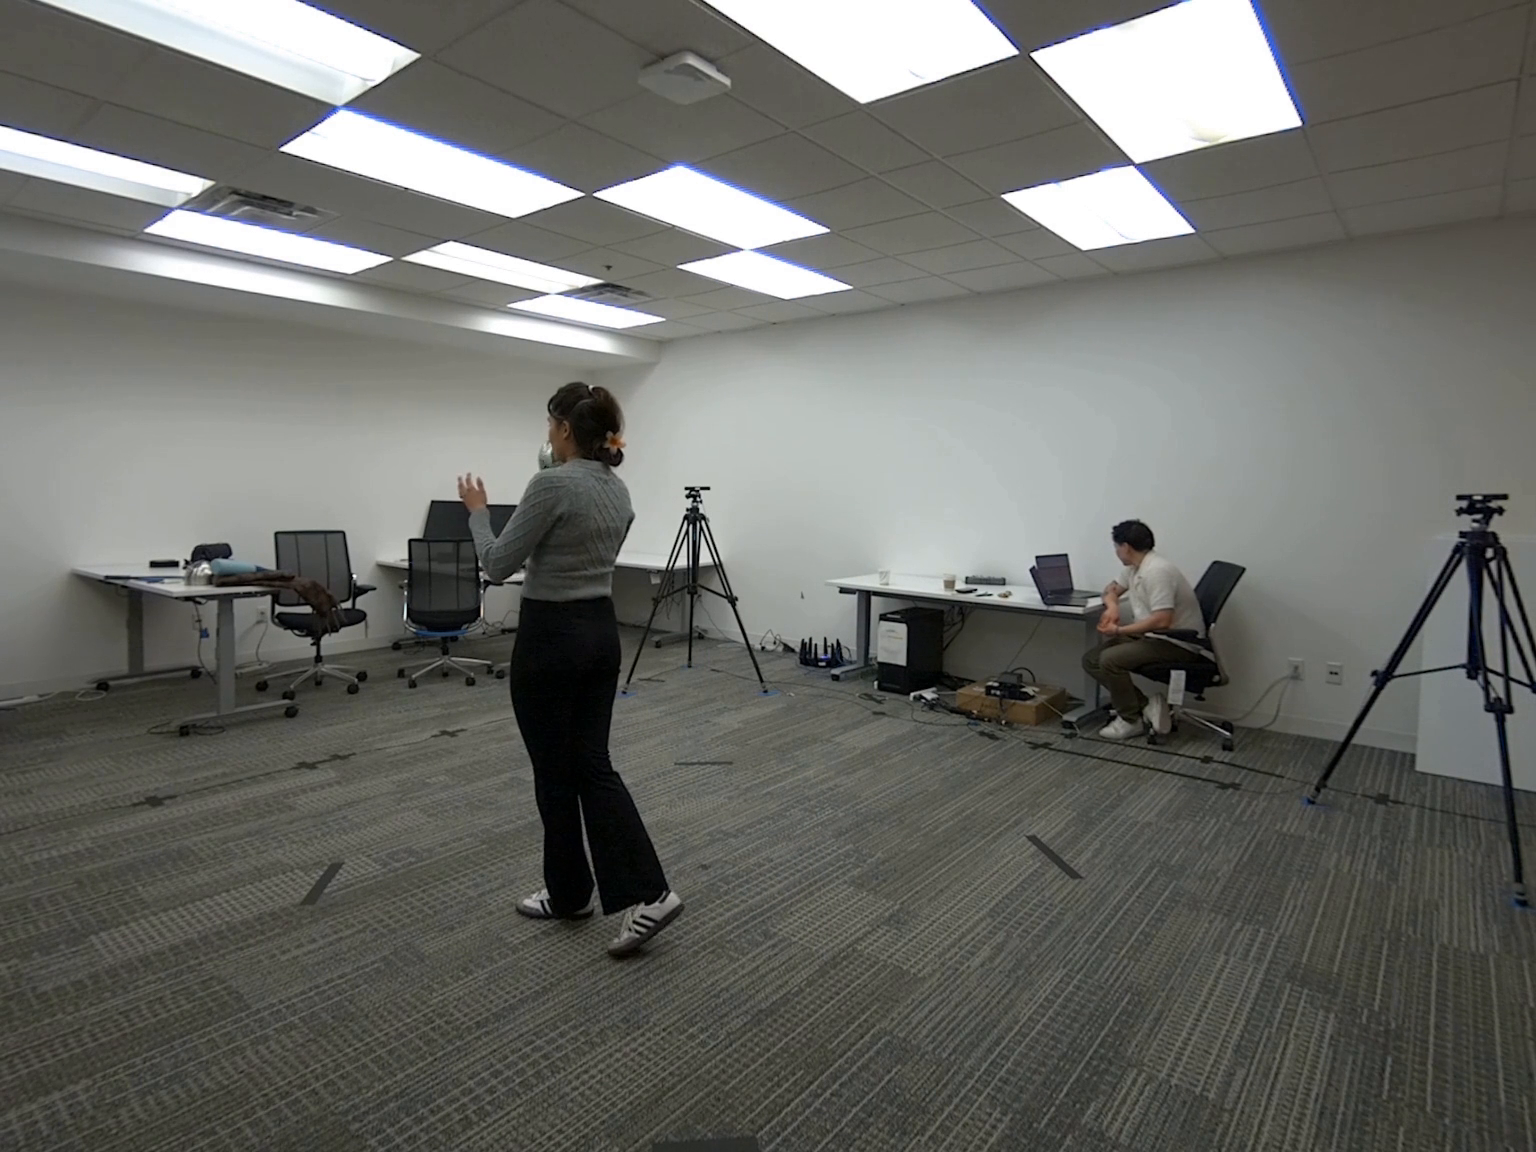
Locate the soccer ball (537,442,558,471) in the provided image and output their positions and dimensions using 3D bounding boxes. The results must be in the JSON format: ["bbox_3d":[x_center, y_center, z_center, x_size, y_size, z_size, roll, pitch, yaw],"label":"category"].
[{"bbox_3d":[-0.703,-0.395,2.955,0.187,0.187,0.188,0,4,-2],"label":"soccer ball"}]
